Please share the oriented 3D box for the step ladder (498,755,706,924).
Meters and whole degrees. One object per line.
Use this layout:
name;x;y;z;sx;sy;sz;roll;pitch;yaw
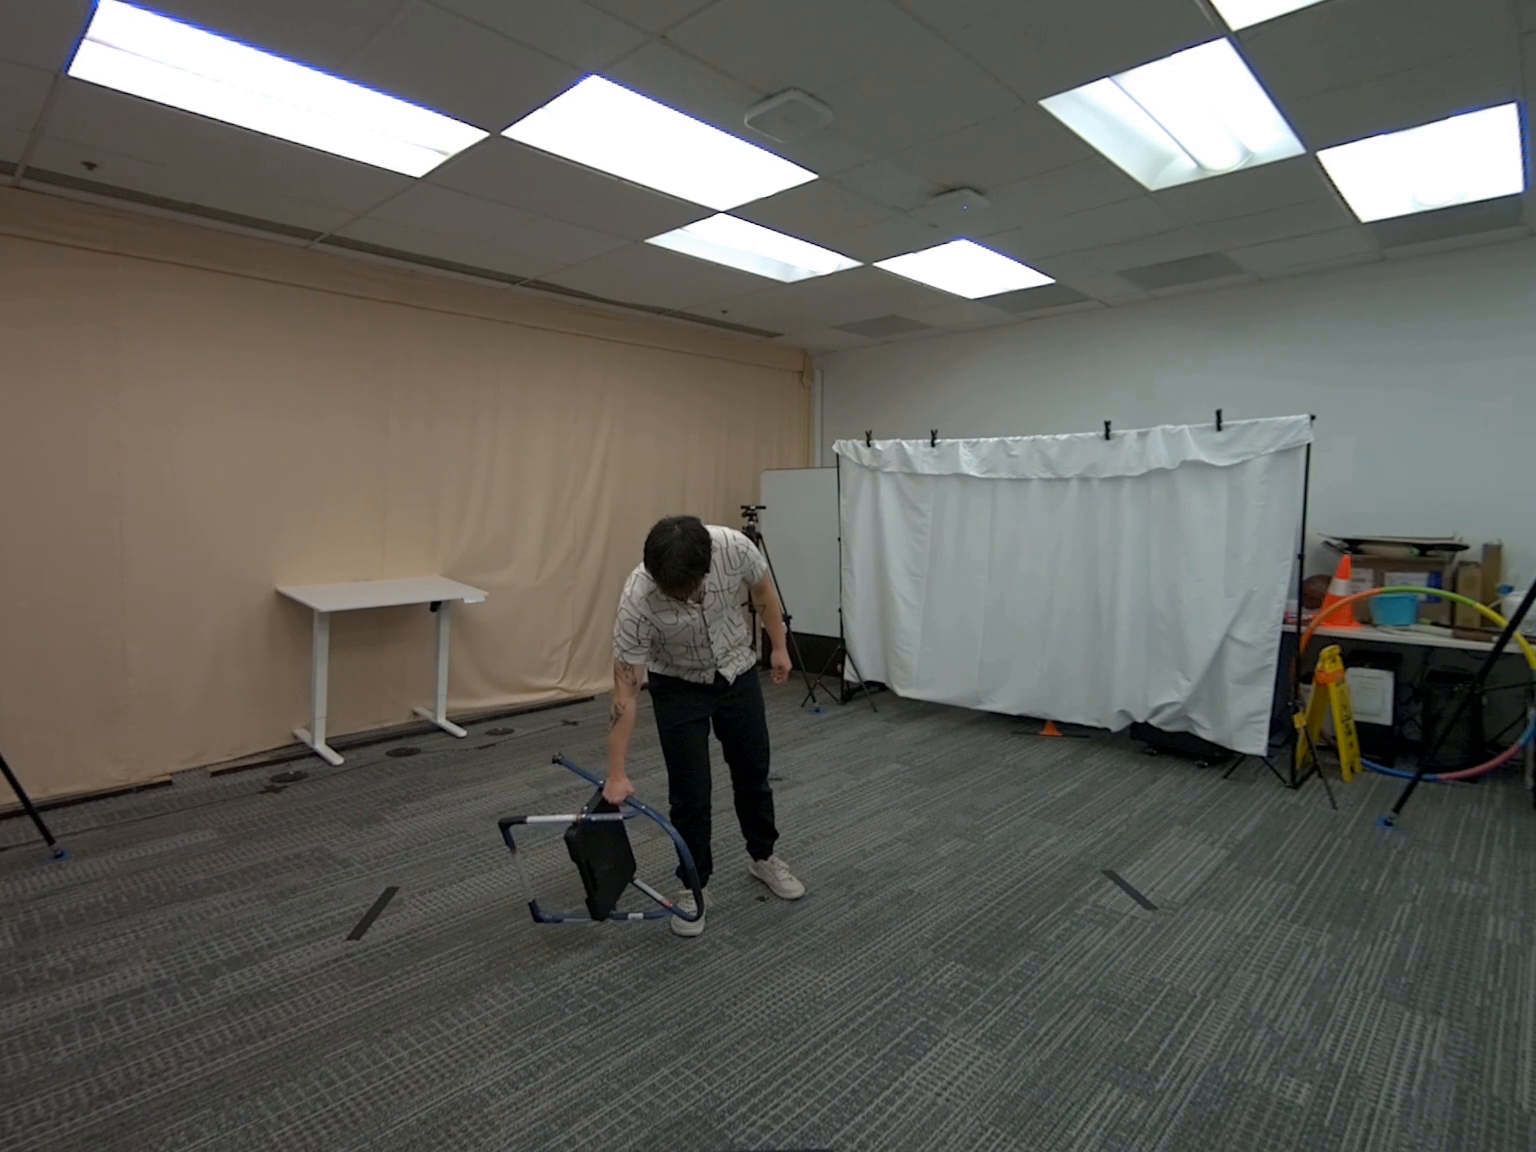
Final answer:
step ladder;-0.462;0.861;2.631;0.622;0.423;0.346;0;25;26
